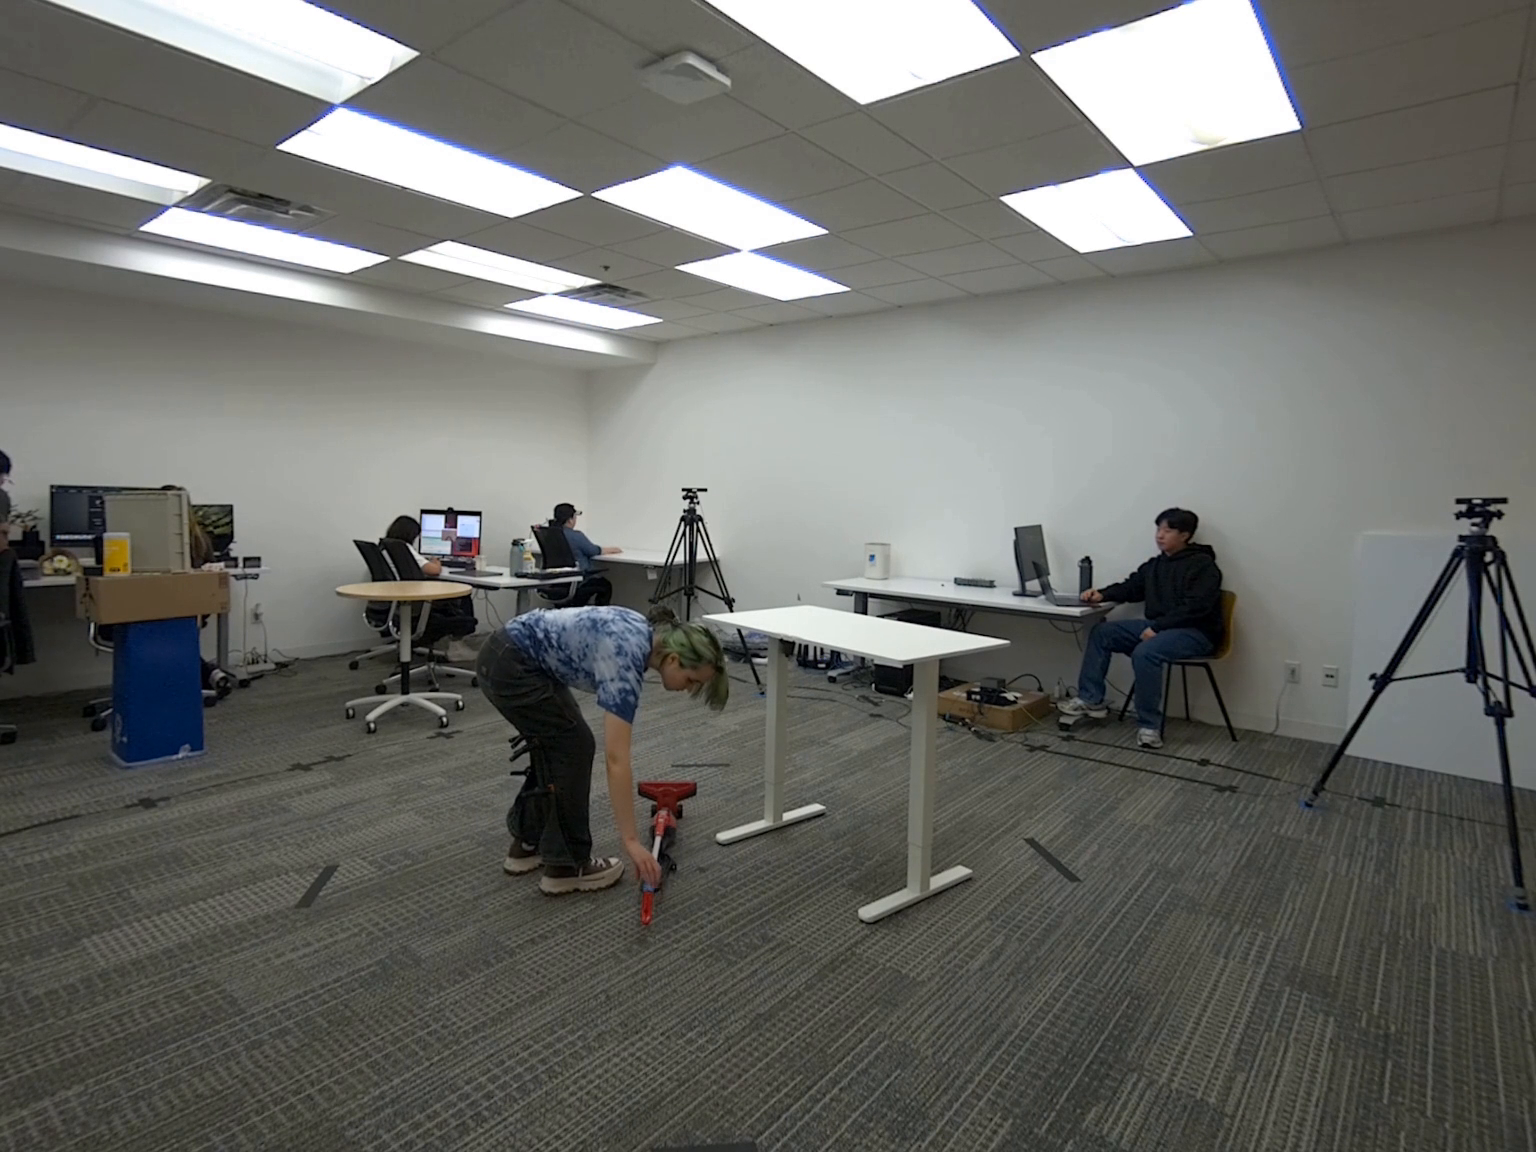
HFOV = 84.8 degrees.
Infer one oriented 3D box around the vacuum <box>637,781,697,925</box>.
[{"bbox_3d":[-0.402,1.003,3.109,0.252,0.143,1.057,0,6,-4],"label":"vacuum"}]
